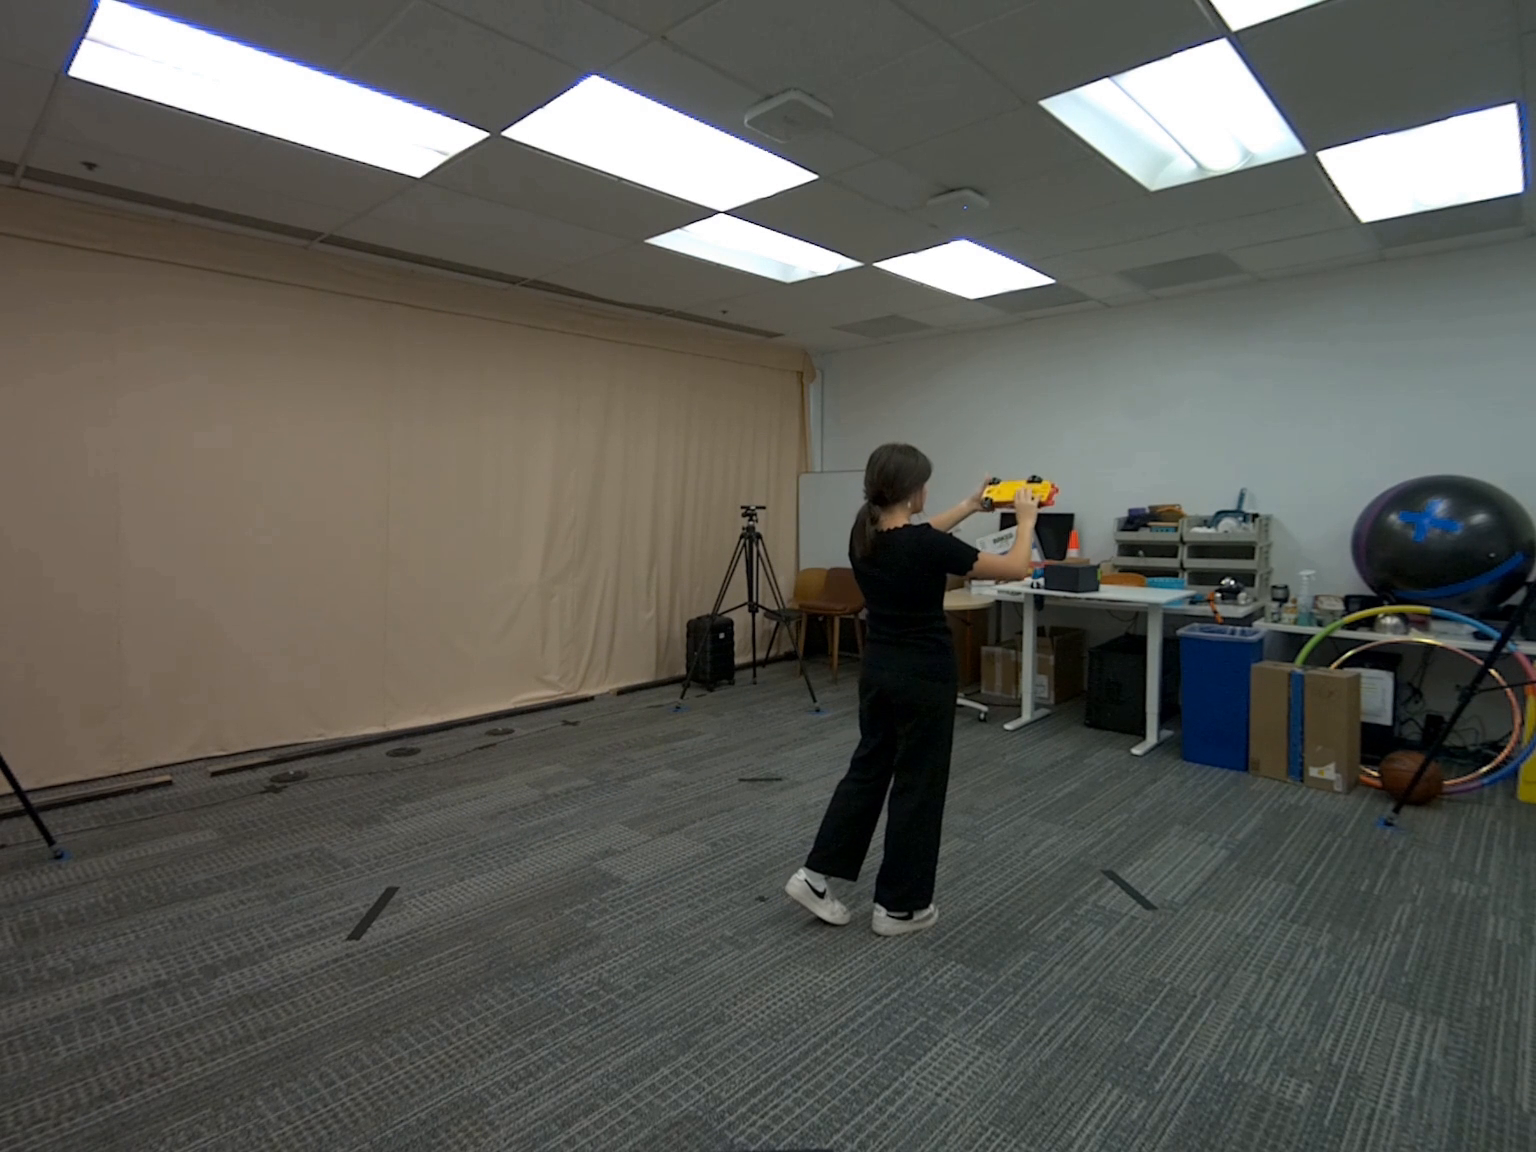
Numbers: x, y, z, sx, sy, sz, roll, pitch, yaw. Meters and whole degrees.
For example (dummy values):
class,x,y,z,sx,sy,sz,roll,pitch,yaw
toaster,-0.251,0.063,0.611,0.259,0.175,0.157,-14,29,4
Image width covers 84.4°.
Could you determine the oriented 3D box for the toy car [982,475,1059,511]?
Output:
class,x,y,z,sx,sy,sz,roll,pitch,yaw
toy car,0.860,-0.276,2.850,0.263,0.130,0.080,11,-30,36
